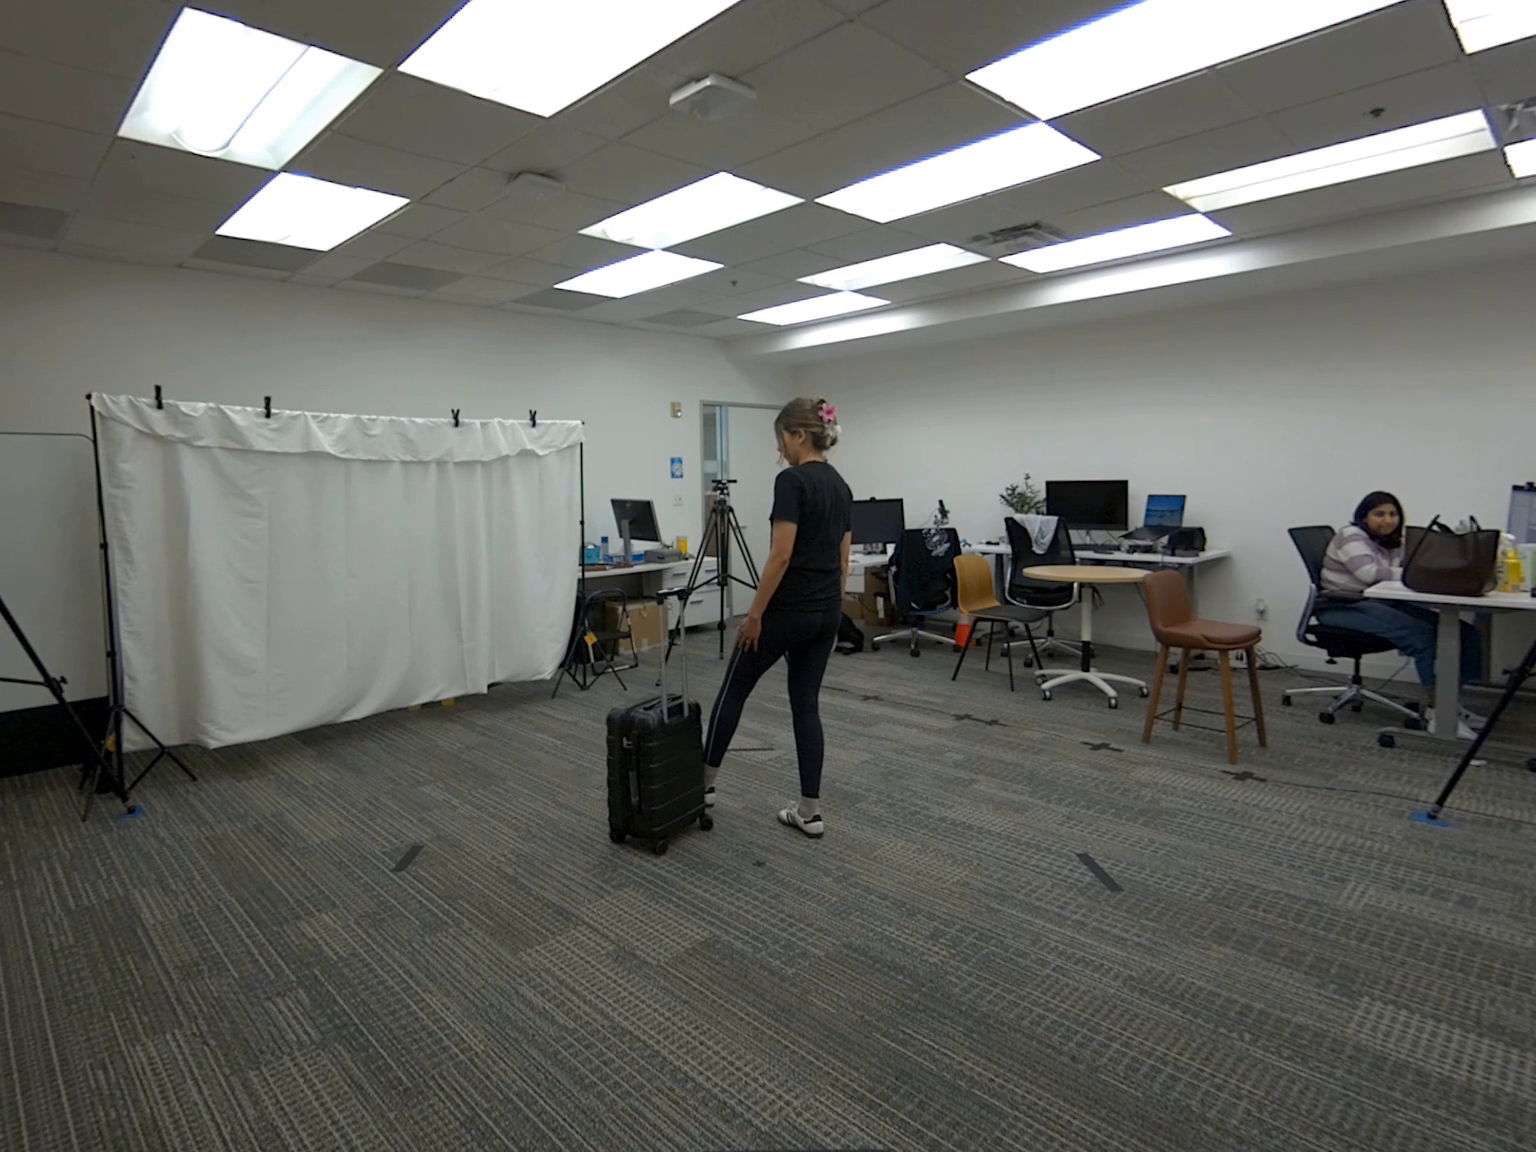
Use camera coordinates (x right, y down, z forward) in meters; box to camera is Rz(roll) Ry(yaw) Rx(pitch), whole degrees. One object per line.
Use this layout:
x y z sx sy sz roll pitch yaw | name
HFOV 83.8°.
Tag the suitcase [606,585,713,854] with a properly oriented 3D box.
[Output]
-0.451 0.551 3.336 0.264 0.975 0.375 -1 5 32 | suitcase
